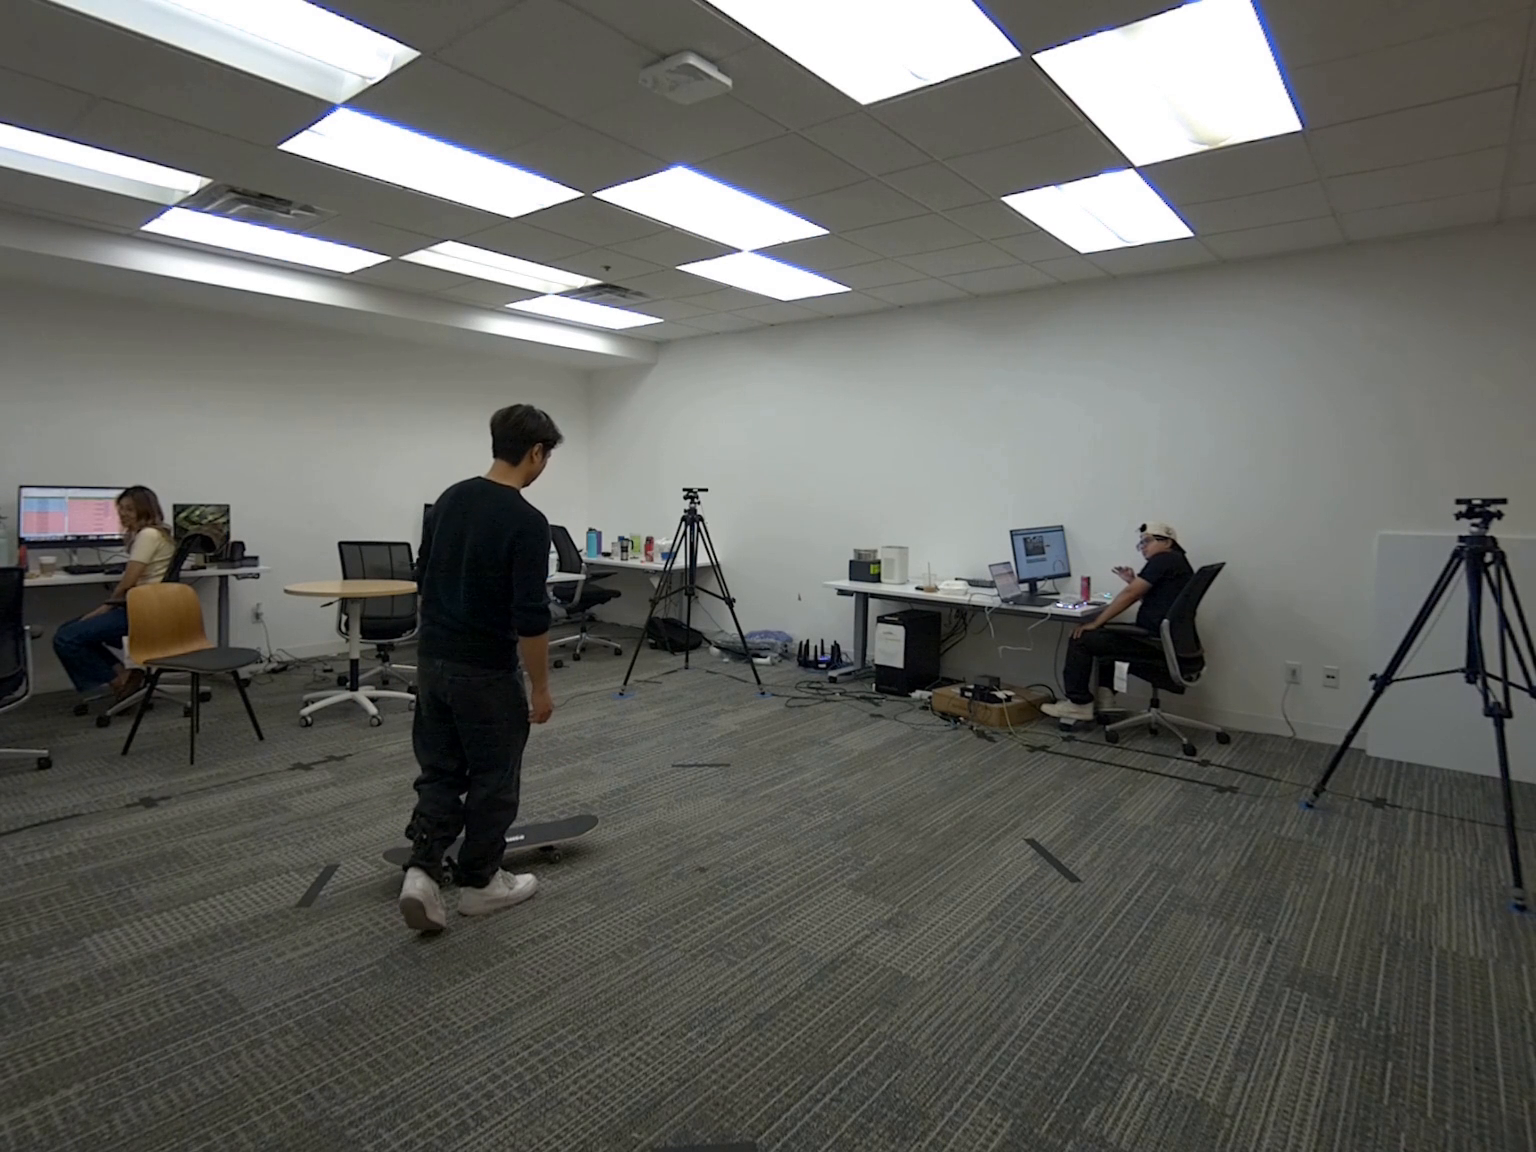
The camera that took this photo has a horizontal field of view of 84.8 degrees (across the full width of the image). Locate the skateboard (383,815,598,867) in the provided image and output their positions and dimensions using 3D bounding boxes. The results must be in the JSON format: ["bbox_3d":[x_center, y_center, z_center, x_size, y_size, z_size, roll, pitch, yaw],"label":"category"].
[{"bbox_3d":[-1.001,1.001,3.113,0.765,0.110,0.199,-3,6,-29],"label":"skateboard"}]
